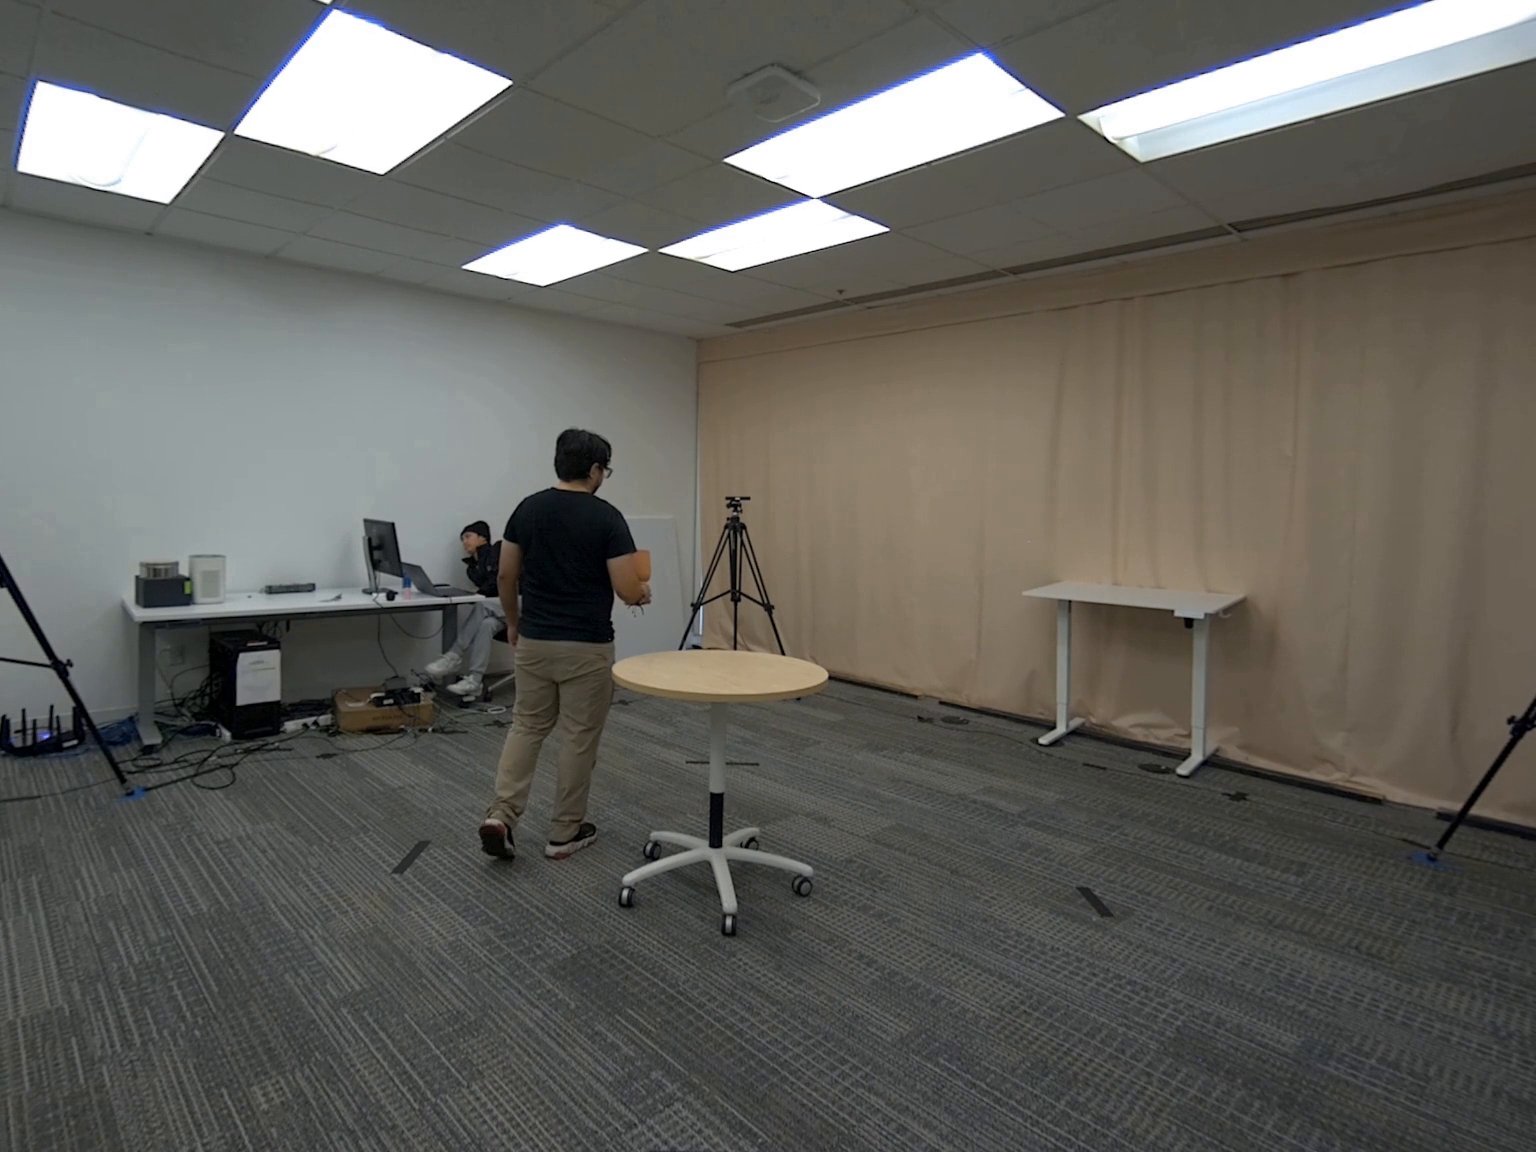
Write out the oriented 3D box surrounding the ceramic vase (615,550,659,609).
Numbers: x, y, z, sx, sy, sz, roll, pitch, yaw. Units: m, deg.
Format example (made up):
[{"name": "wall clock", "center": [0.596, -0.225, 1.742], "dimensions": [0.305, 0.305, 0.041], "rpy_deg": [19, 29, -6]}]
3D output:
[{"name": "ceramic vase", "center": [-0.553, 0.012, 3.530], "dimensions": [0.157, 0.222, 0.135], "rpy_deg": [0, -12, -16]}]
